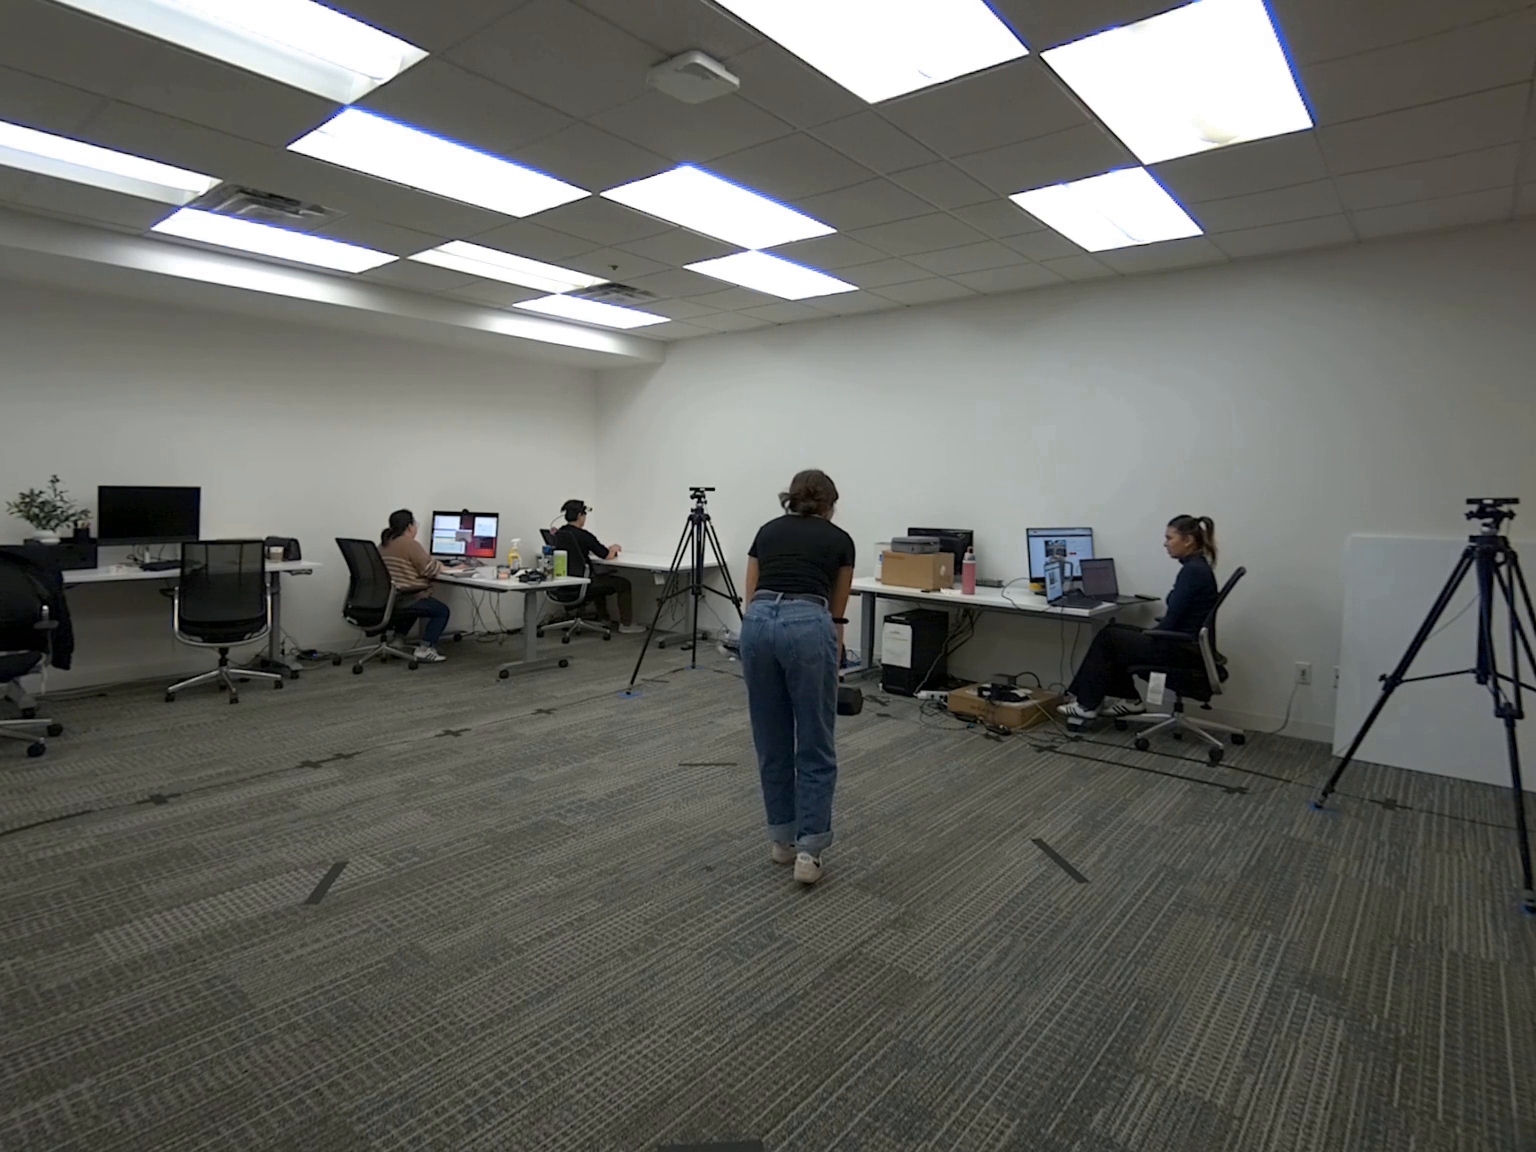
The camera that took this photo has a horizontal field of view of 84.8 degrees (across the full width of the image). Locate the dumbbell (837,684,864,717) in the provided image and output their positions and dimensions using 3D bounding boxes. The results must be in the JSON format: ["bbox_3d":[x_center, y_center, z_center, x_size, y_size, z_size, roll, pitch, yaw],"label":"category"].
[{"bbox_3d":[0.204,0.473,3.261,0.302,0.124,0.104,0,-32,34],"label":"dumbbell"}]
